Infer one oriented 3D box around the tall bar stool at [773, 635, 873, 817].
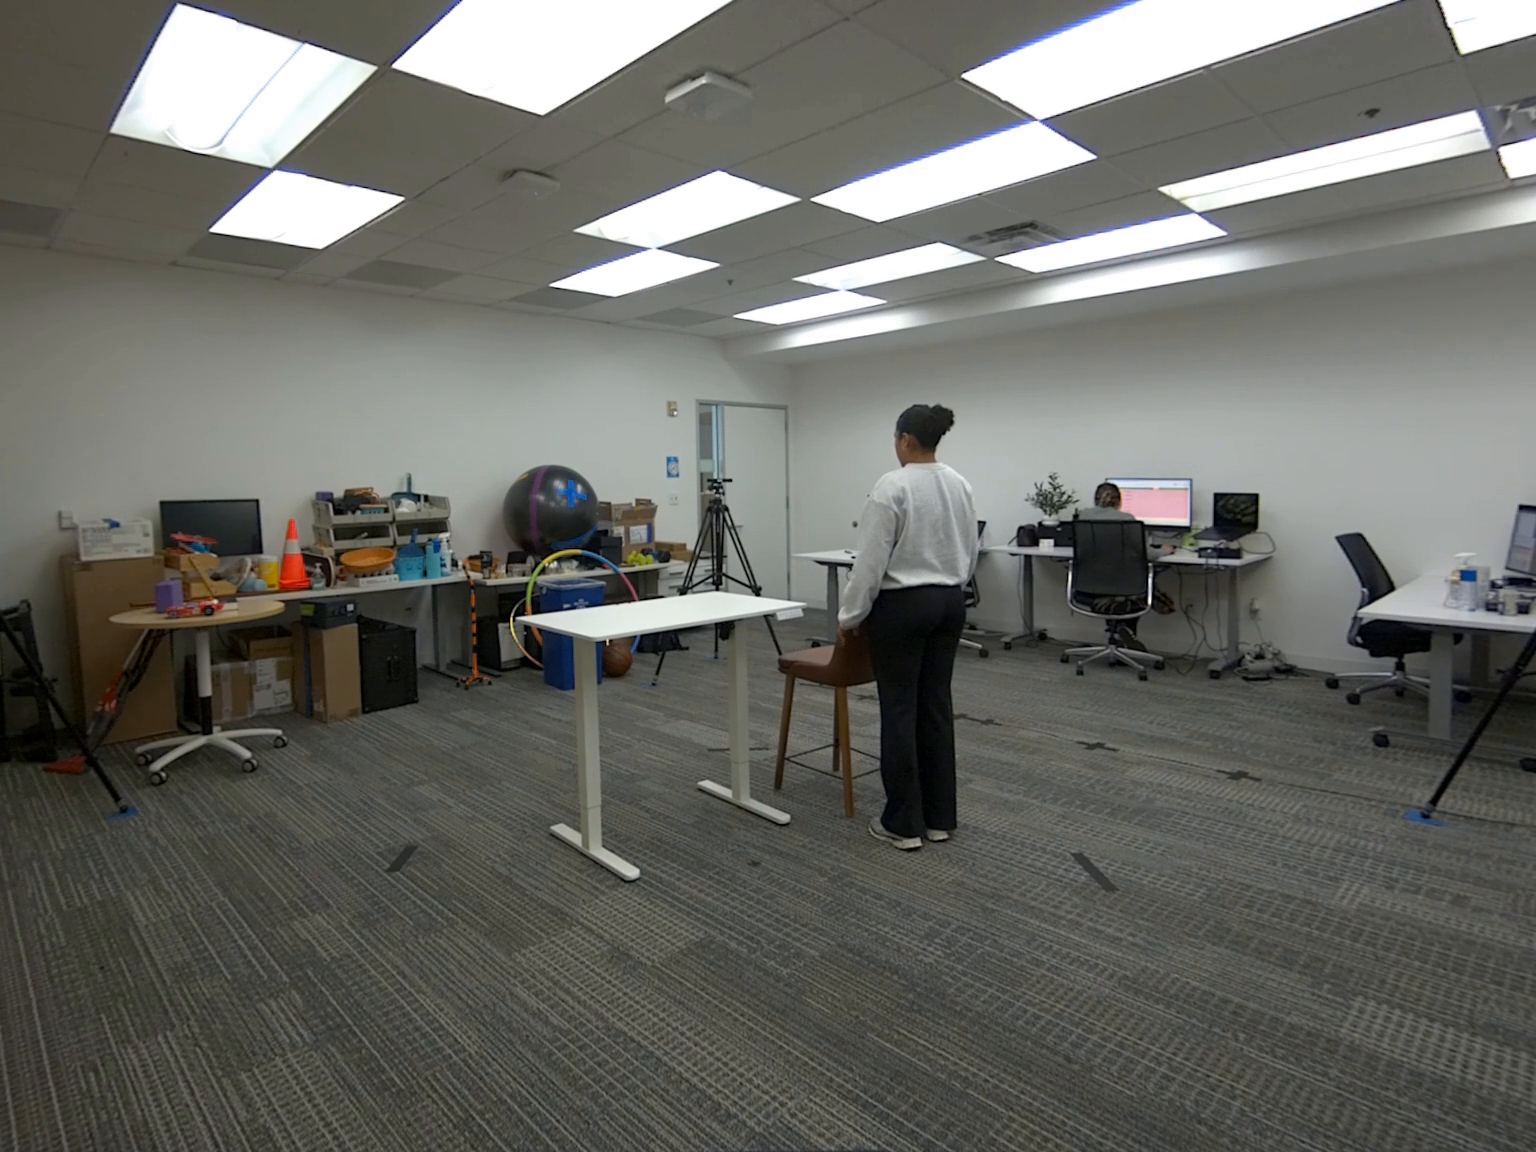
[{"bbox_3d":[0.332,0.529,3.767,0.444,0.885,0.483,-4,8,-41],"label":"tall bar stool"}]
